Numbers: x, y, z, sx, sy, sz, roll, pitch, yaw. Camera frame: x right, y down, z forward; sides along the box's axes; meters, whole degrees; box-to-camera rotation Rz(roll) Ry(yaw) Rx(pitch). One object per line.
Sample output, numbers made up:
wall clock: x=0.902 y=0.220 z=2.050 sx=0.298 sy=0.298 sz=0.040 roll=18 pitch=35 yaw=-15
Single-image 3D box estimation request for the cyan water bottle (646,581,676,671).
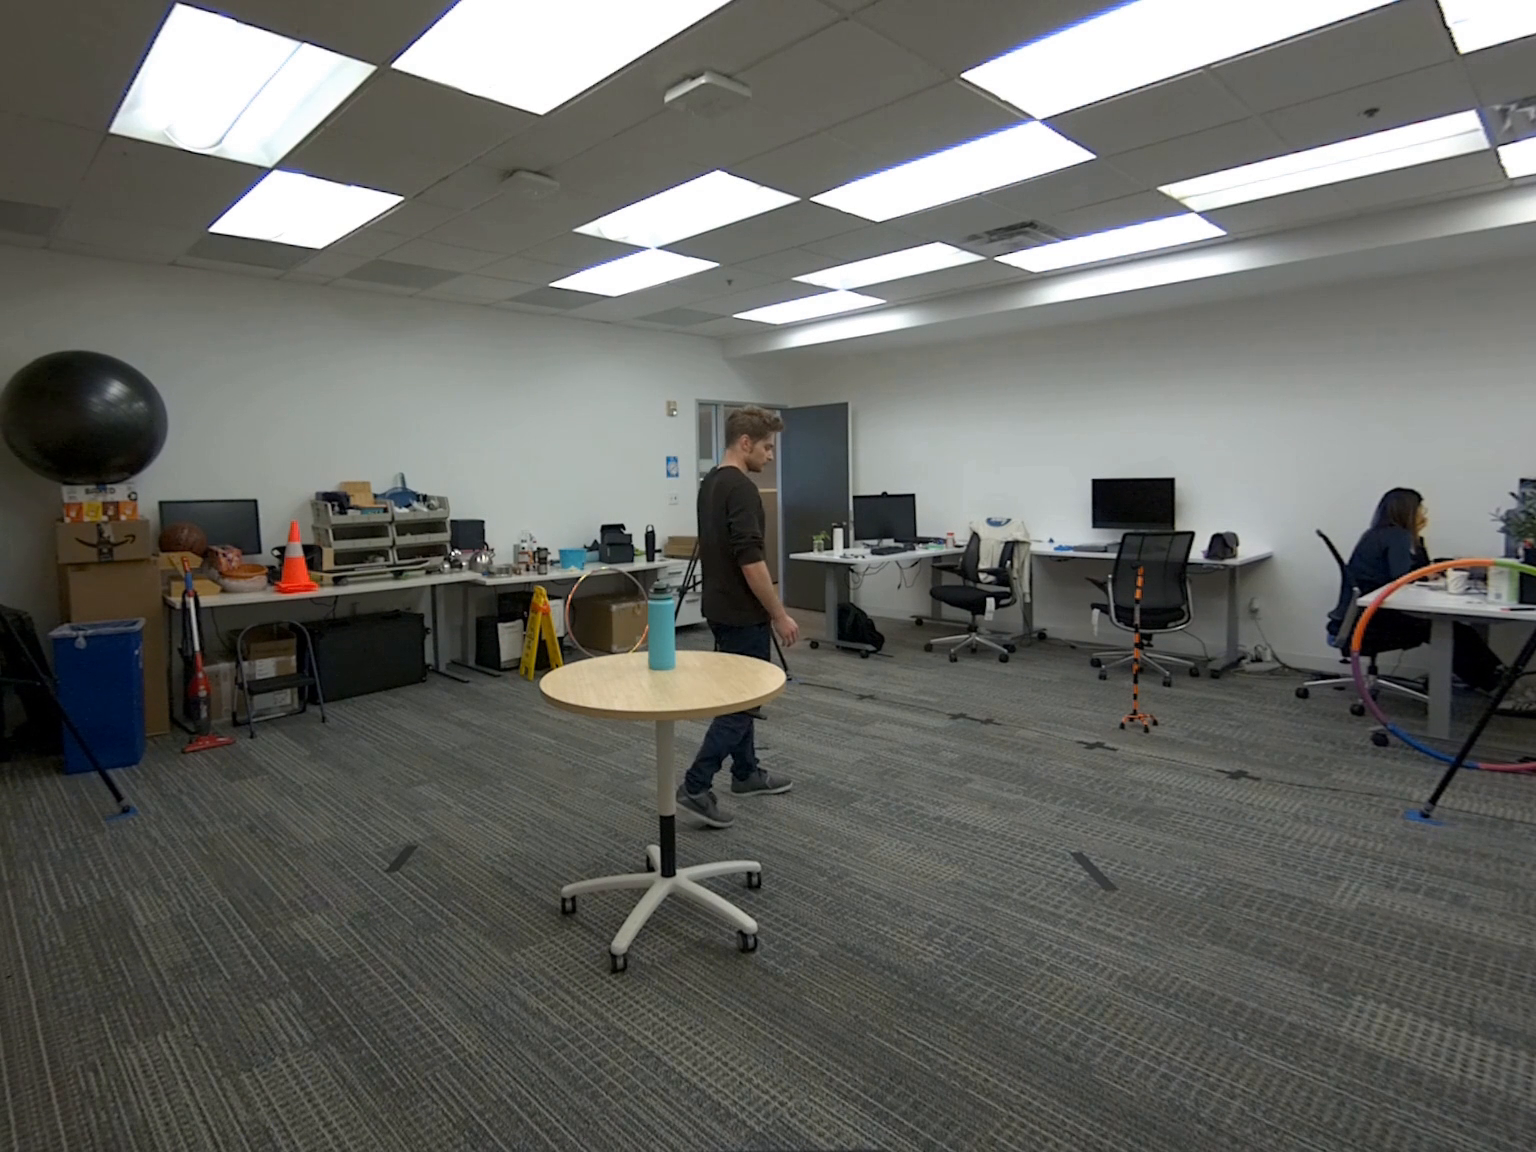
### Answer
cyan water bottle: x=-0.351 y=0.163 z=2.800 sx=0.092 sy=0.283 sz=0.092 roll=-2 pitch=2 yaw=-2
